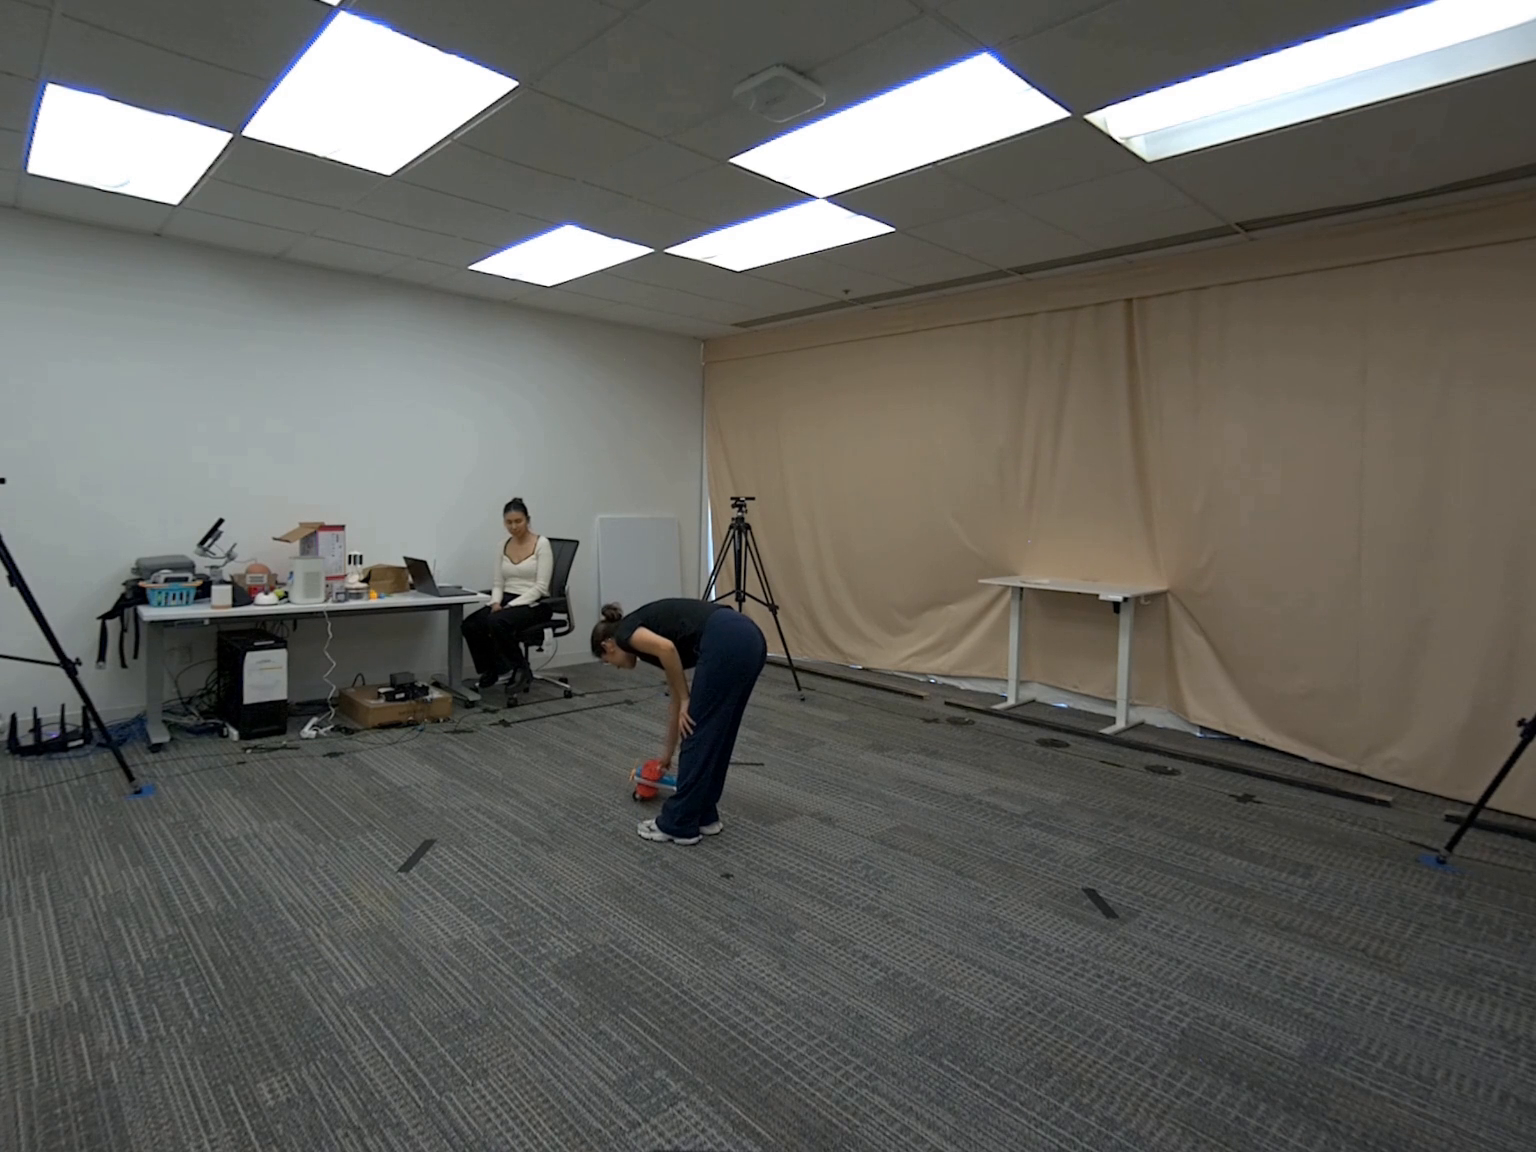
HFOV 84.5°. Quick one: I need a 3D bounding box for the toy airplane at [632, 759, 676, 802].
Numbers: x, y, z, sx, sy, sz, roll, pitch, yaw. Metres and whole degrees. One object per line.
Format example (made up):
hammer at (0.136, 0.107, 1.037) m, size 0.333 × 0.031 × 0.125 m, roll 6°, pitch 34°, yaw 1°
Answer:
toy airplane at (-0.514, 0.953, 3.896) m, size 0.255 × 0.156 × 0.256 m, roll 0°, pitch 6°, yaw -25°
